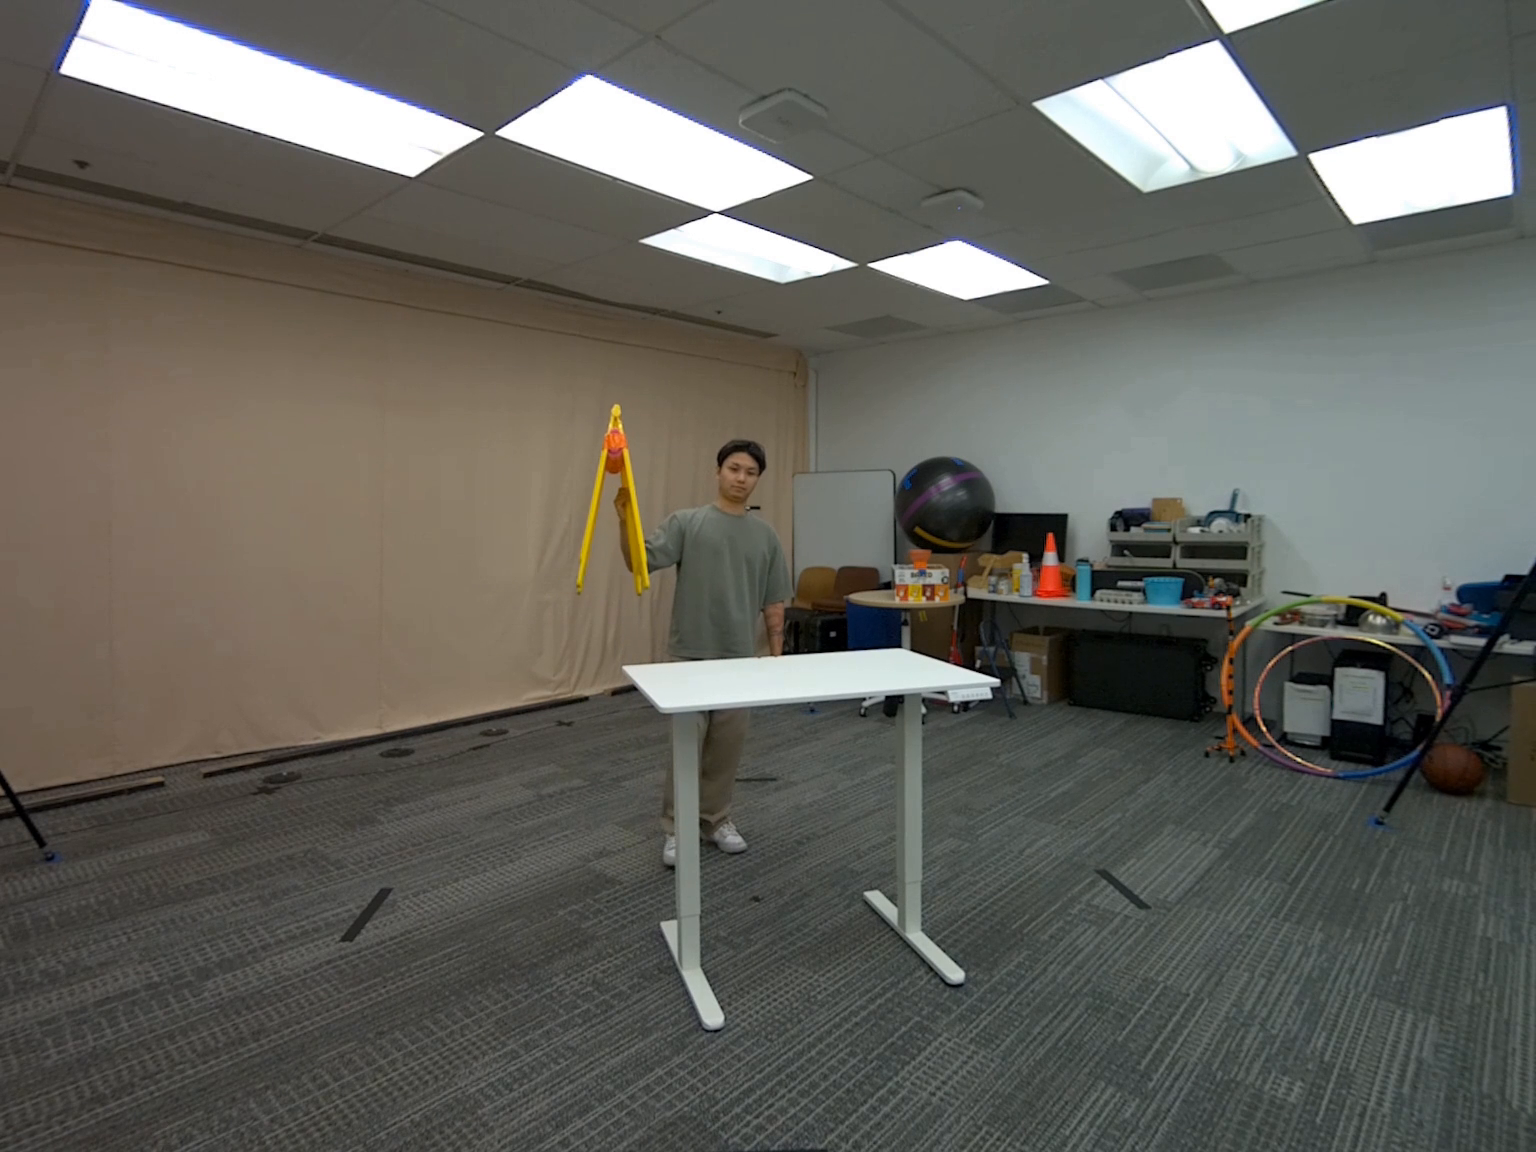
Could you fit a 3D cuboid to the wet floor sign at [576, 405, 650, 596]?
[{"bbox_3d":[-0.555,-0.272,2.991,0.286,0.650,0.284,2,-10,-11],"label":"wet floor sign"}]
